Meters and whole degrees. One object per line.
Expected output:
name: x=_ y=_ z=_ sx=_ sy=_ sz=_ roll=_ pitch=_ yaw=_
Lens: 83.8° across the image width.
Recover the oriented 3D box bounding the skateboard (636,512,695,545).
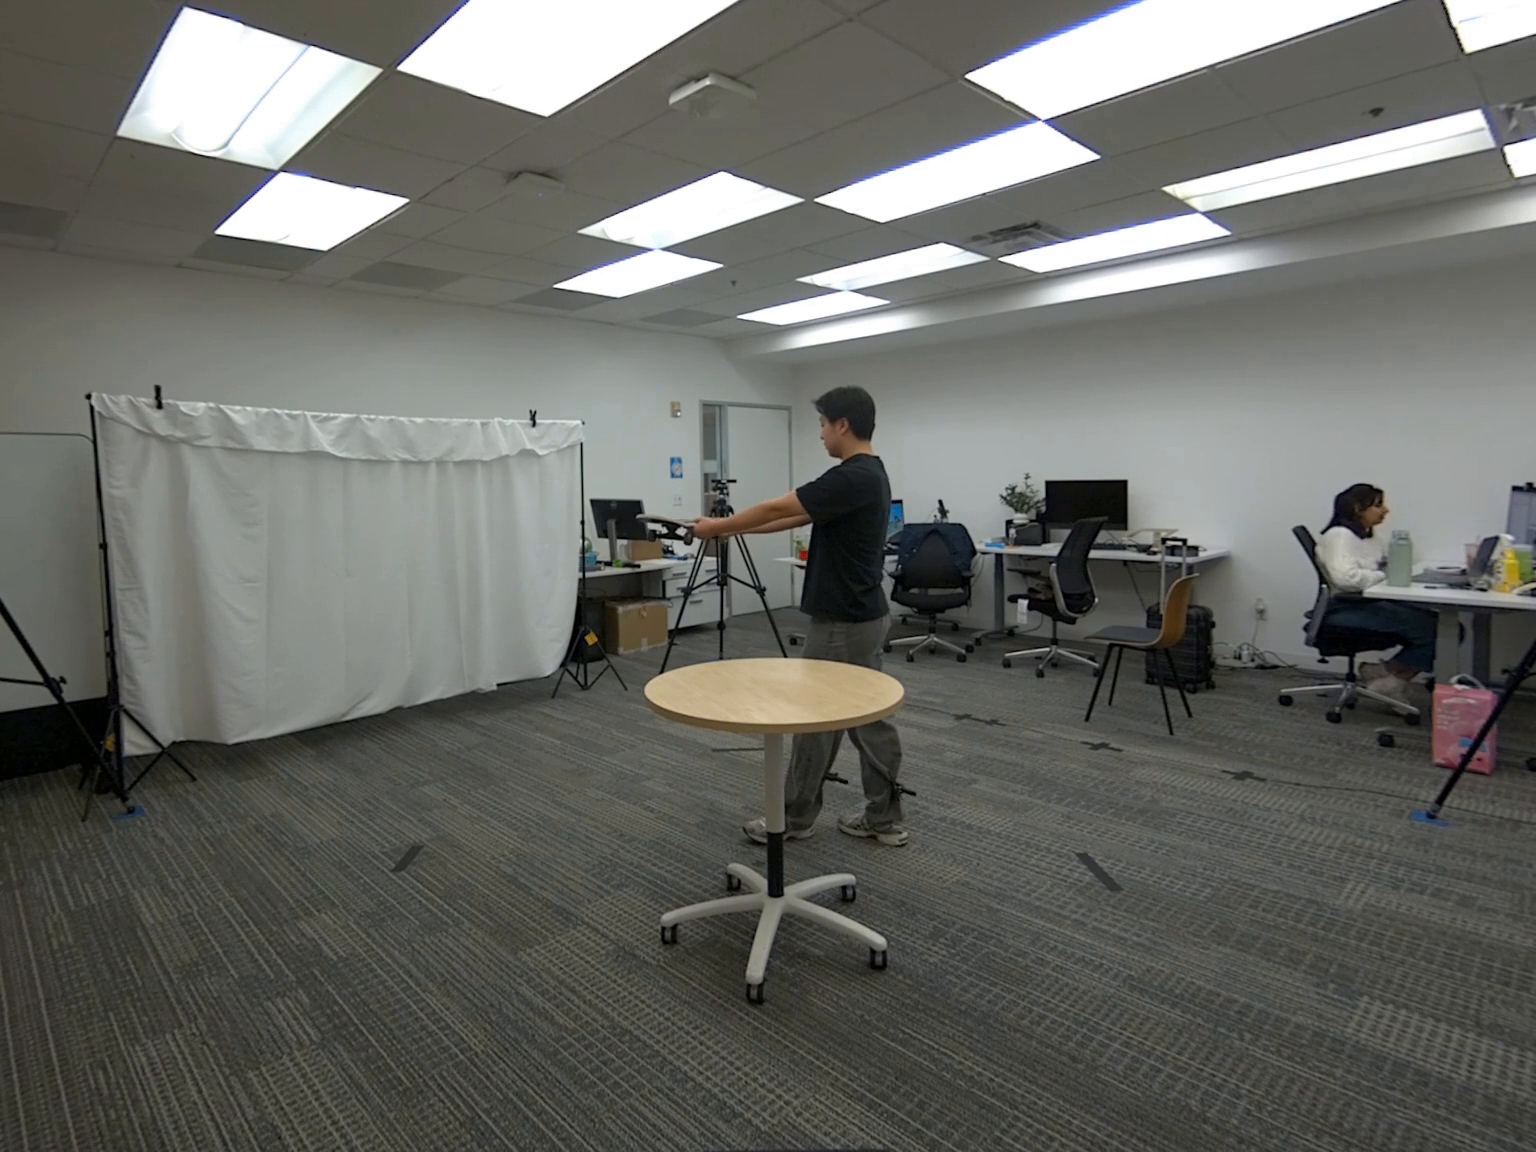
skateboard: x=-0.317 y=-0.190 z=3.503 sx=0.197 sy=0.110 sz=0.773 roll=6 pitch=5 yaw=18
